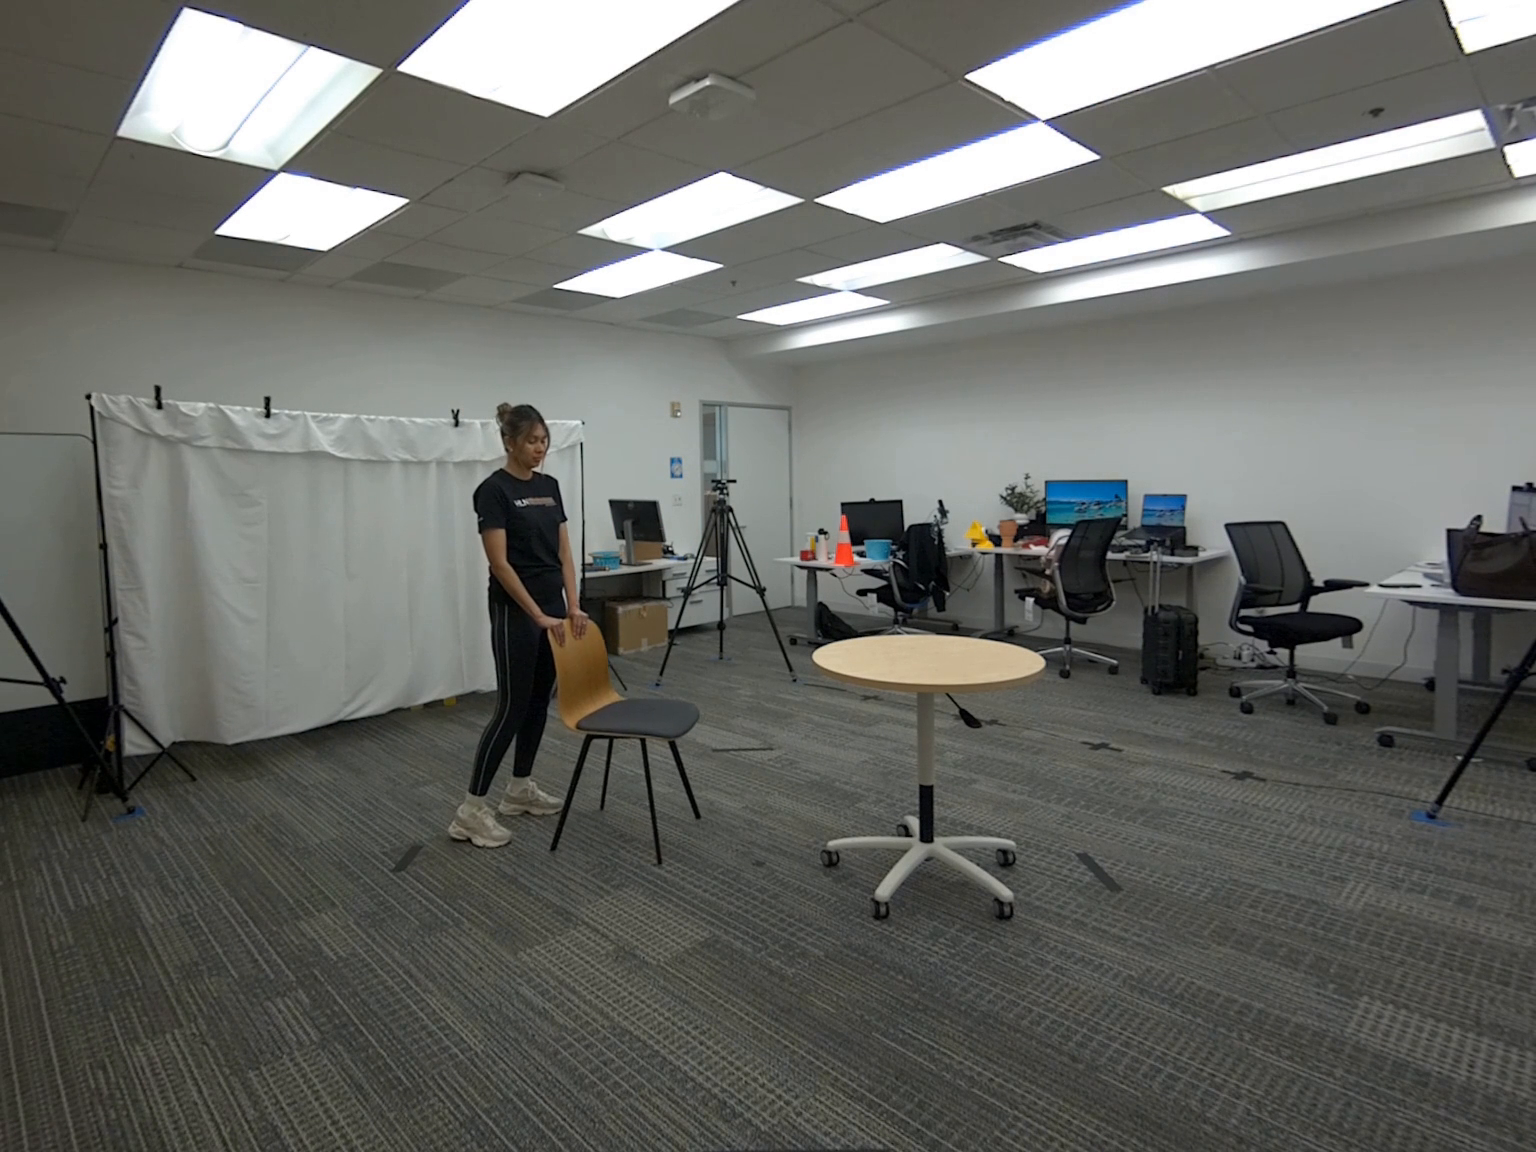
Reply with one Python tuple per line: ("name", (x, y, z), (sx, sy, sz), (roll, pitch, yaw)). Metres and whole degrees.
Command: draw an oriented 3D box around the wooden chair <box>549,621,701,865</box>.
("wooden chair", (-0.549, 0.600, 3.355), (0.532, 0.875, 0.472), (-4, 3, 18))
